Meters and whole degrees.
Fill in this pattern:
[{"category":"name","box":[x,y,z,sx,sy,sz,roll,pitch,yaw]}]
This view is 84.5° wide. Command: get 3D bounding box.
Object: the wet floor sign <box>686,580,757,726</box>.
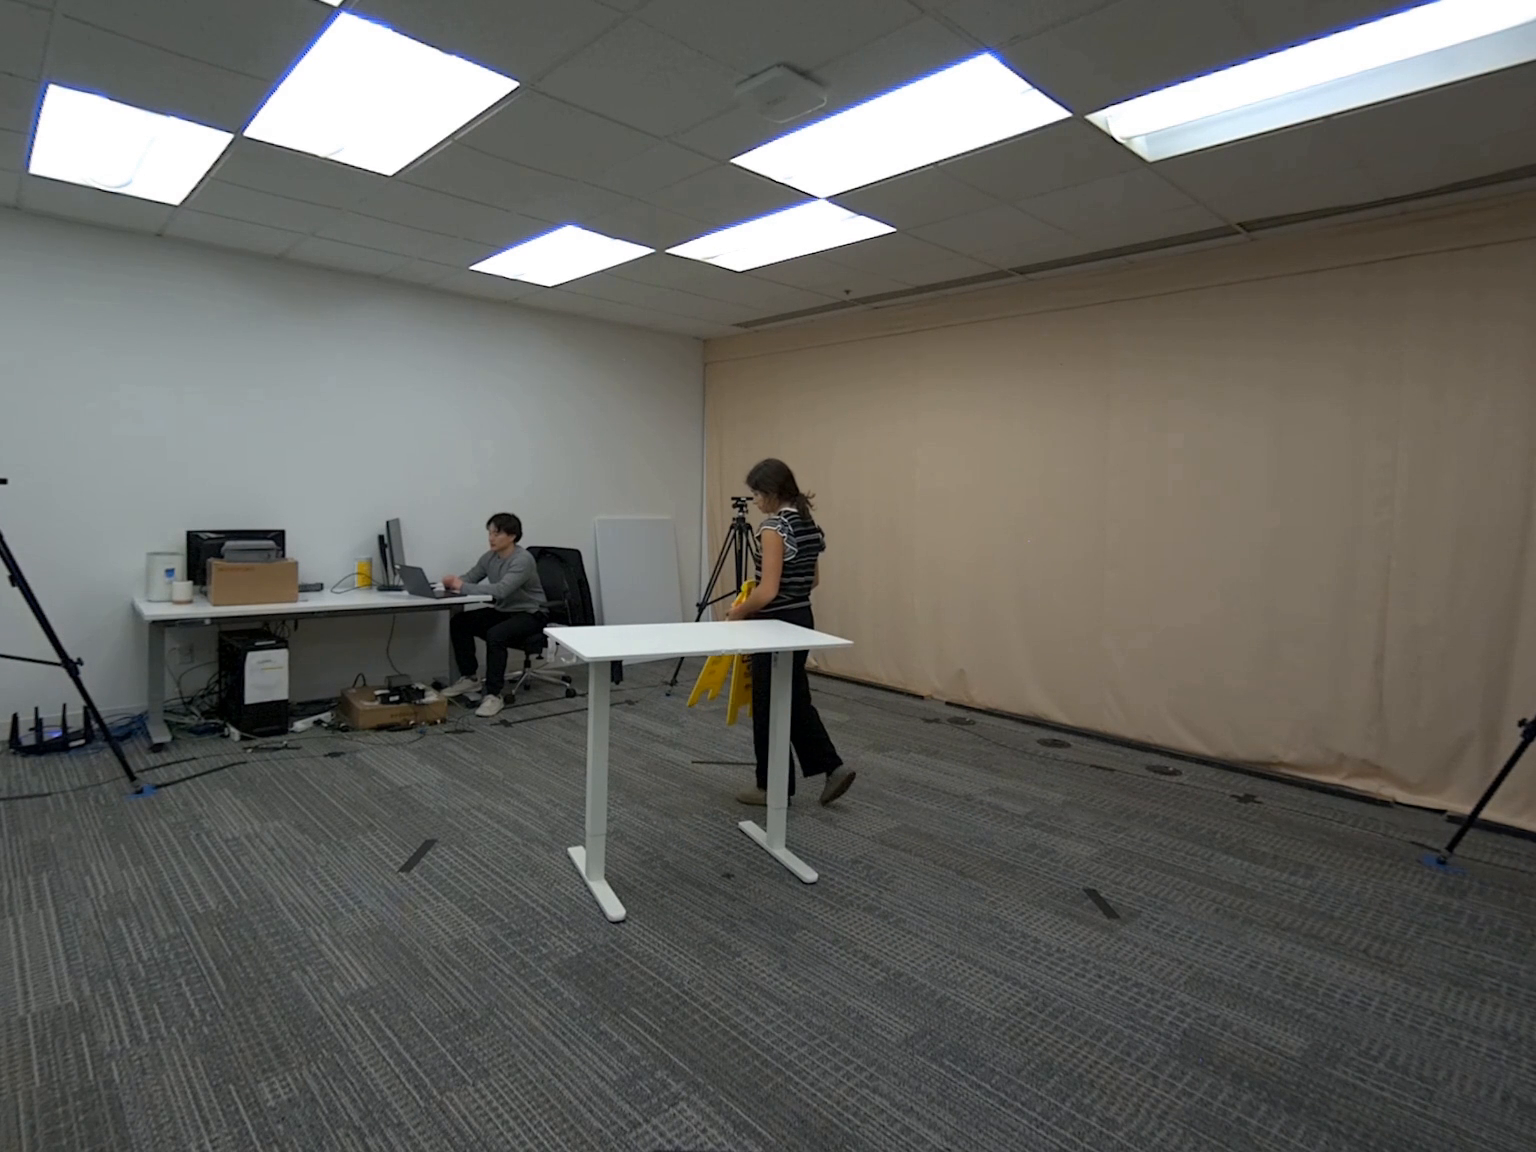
[{"category":"wet floor sign","box":[-0.138,0.332,3.941,0.296,0.644,0.277,17,7,25]}]
